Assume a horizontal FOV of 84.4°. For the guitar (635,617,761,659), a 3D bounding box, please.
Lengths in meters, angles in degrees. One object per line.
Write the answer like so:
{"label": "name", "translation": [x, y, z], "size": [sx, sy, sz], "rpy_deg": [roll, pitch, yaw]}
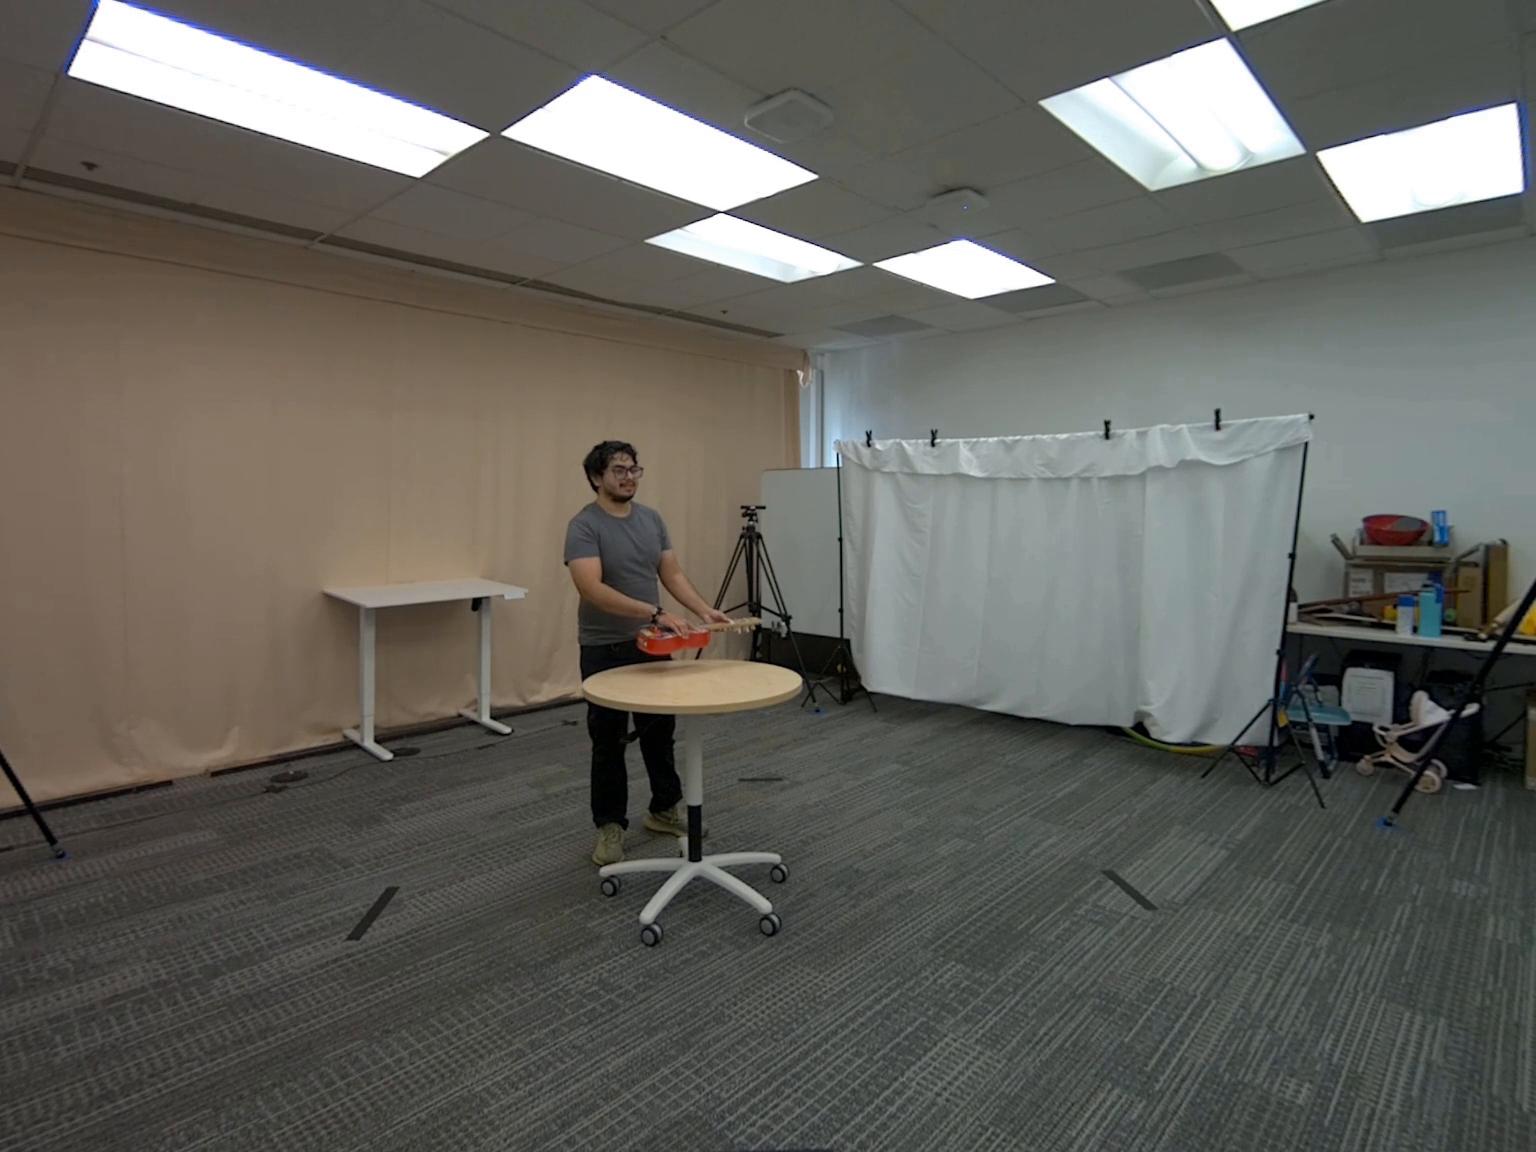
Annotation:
{"label": "guitar", "translation": [-0.235, 0.224, 3.150], "size": [0.490, 0.070, 0.197], "rpy_deg": [-2, 12, -16]}
